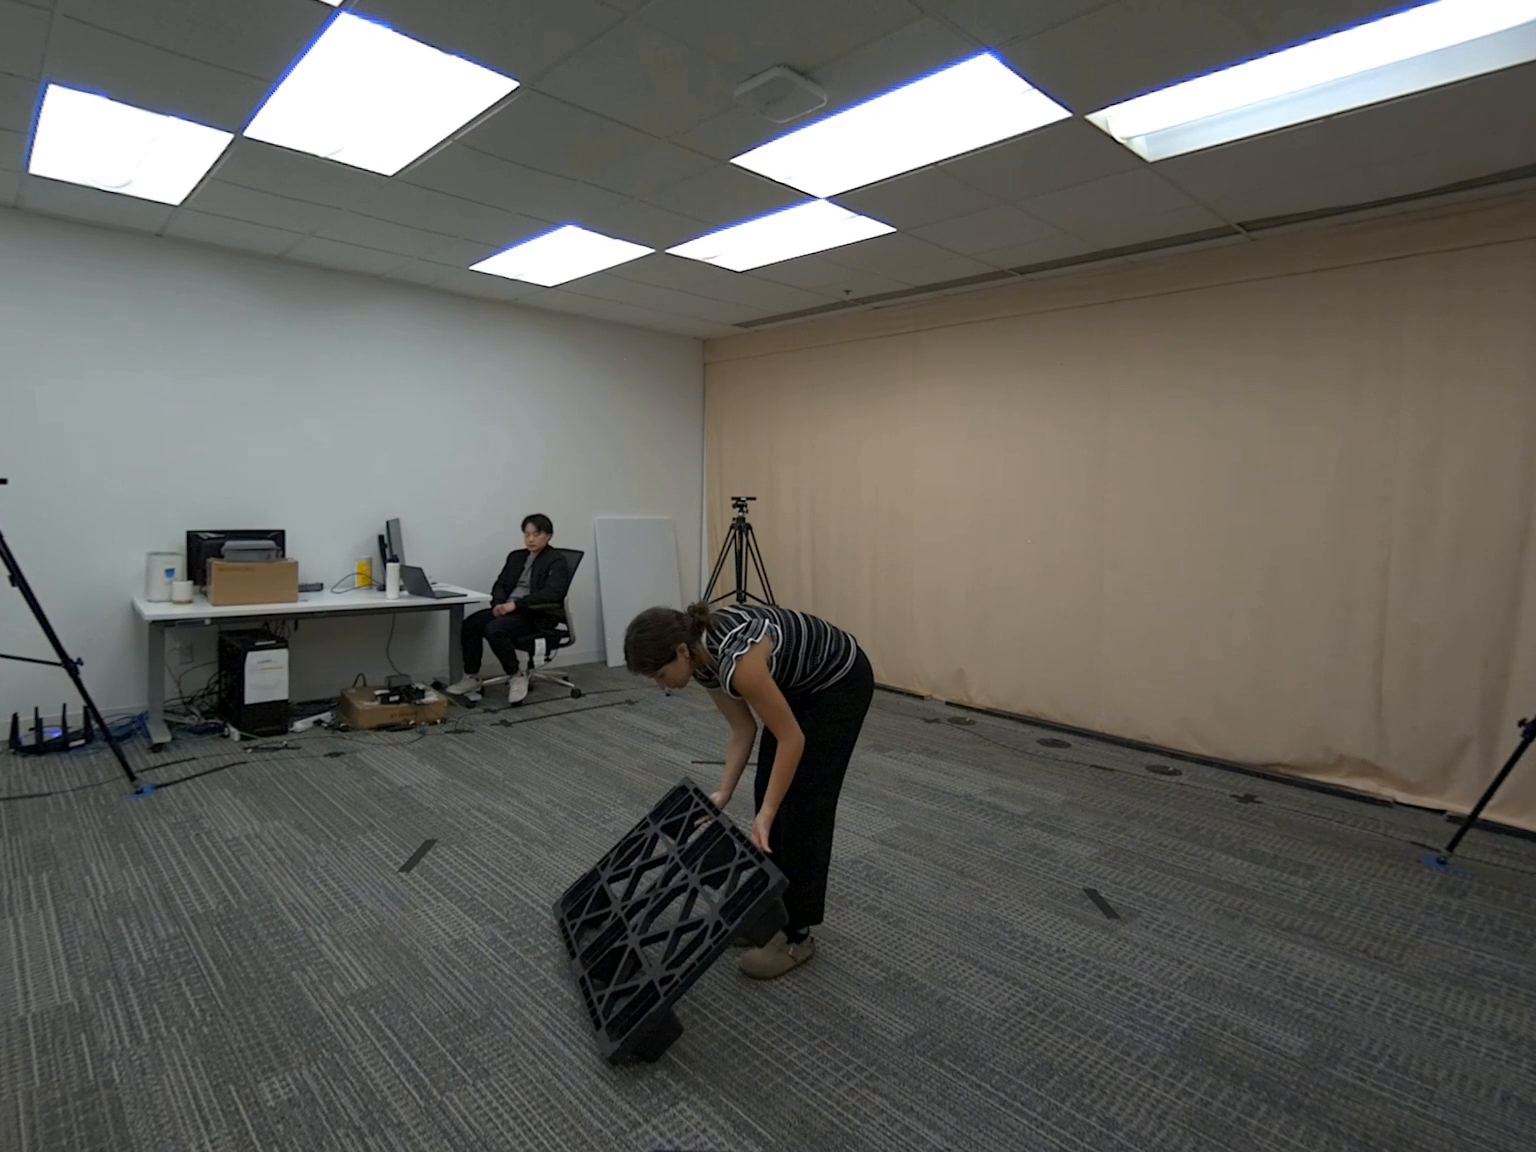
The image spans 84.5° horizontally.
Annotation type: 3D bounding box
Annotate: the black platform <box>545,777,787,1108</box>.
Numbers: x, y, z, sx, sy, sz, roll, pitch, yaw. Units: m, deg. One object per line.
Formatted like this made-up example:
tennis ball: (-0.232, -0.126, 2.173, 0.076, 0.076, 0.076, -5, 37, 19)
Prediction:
black platform: (-0.300, 0.971, 2.437, 0.604, 0.141, 0.821, -41, 19, -13)
